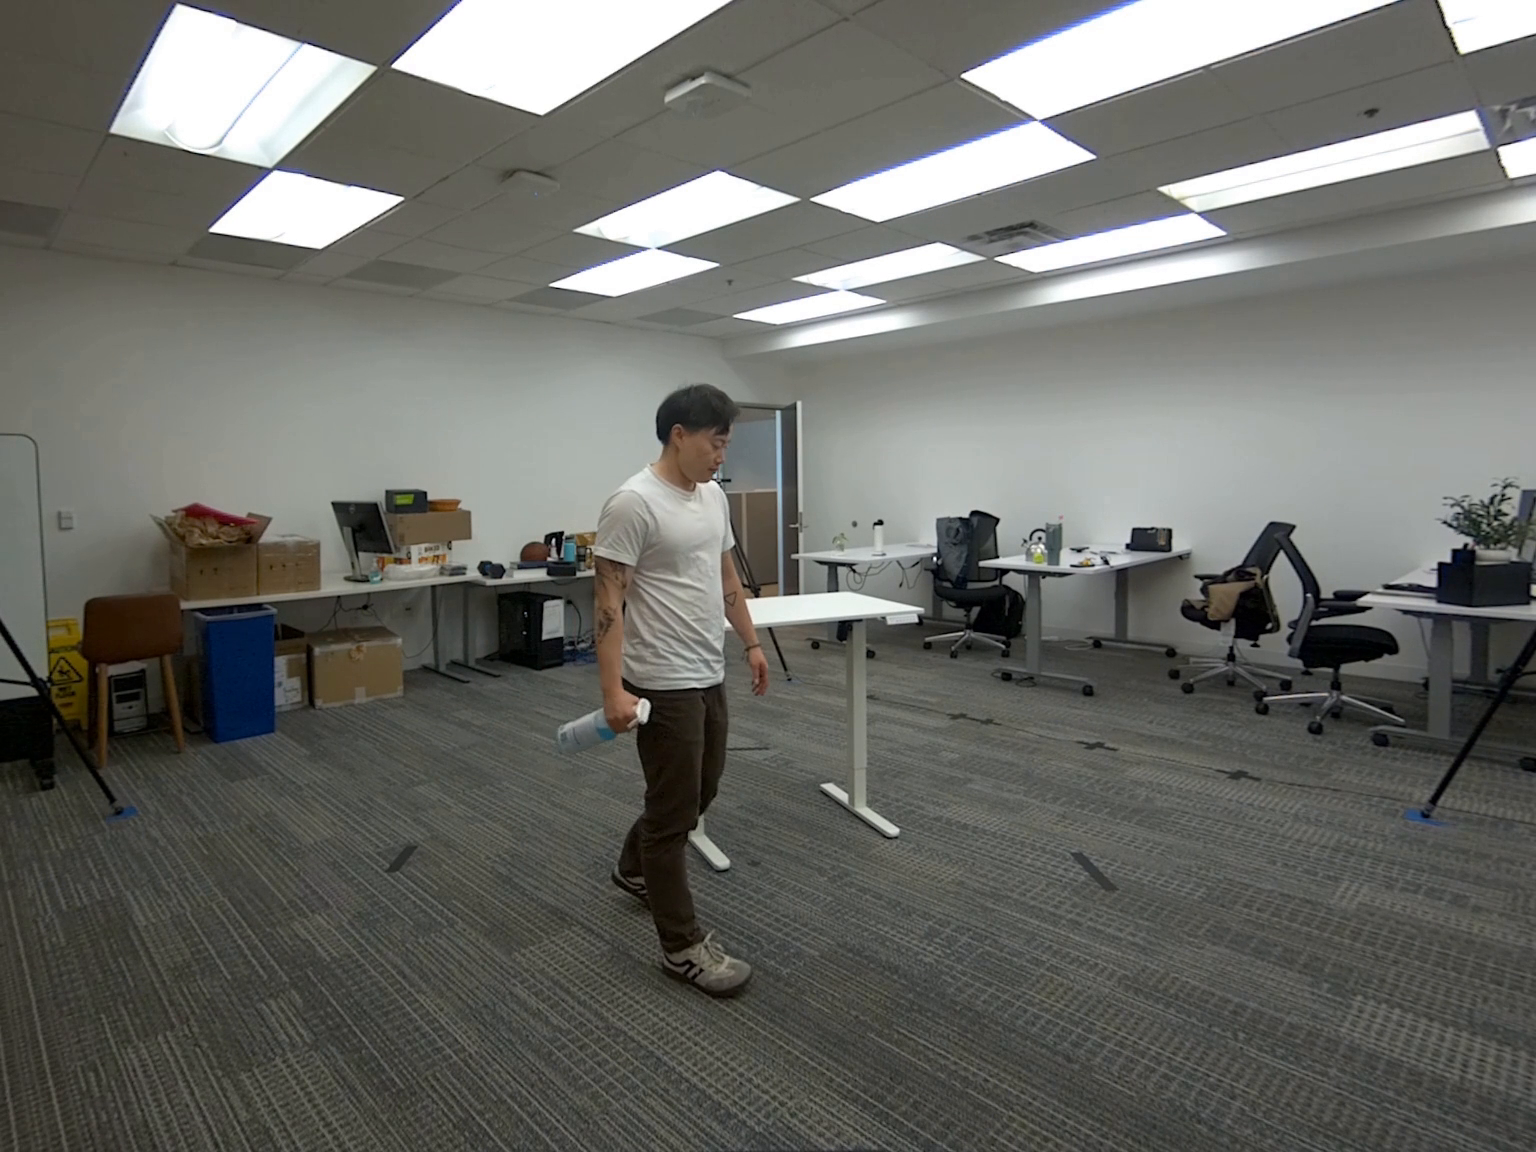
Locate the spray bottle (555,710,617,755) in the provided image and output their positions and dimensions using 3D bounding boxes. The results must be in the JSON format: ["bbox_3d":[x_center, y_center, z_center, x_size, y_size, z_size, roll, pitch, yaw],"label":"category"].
[{"bbox_3d":[-0.425,0.401,2.281,0.301,0.087,0.089,-26,3,28],"label":"spray bottle"}]
